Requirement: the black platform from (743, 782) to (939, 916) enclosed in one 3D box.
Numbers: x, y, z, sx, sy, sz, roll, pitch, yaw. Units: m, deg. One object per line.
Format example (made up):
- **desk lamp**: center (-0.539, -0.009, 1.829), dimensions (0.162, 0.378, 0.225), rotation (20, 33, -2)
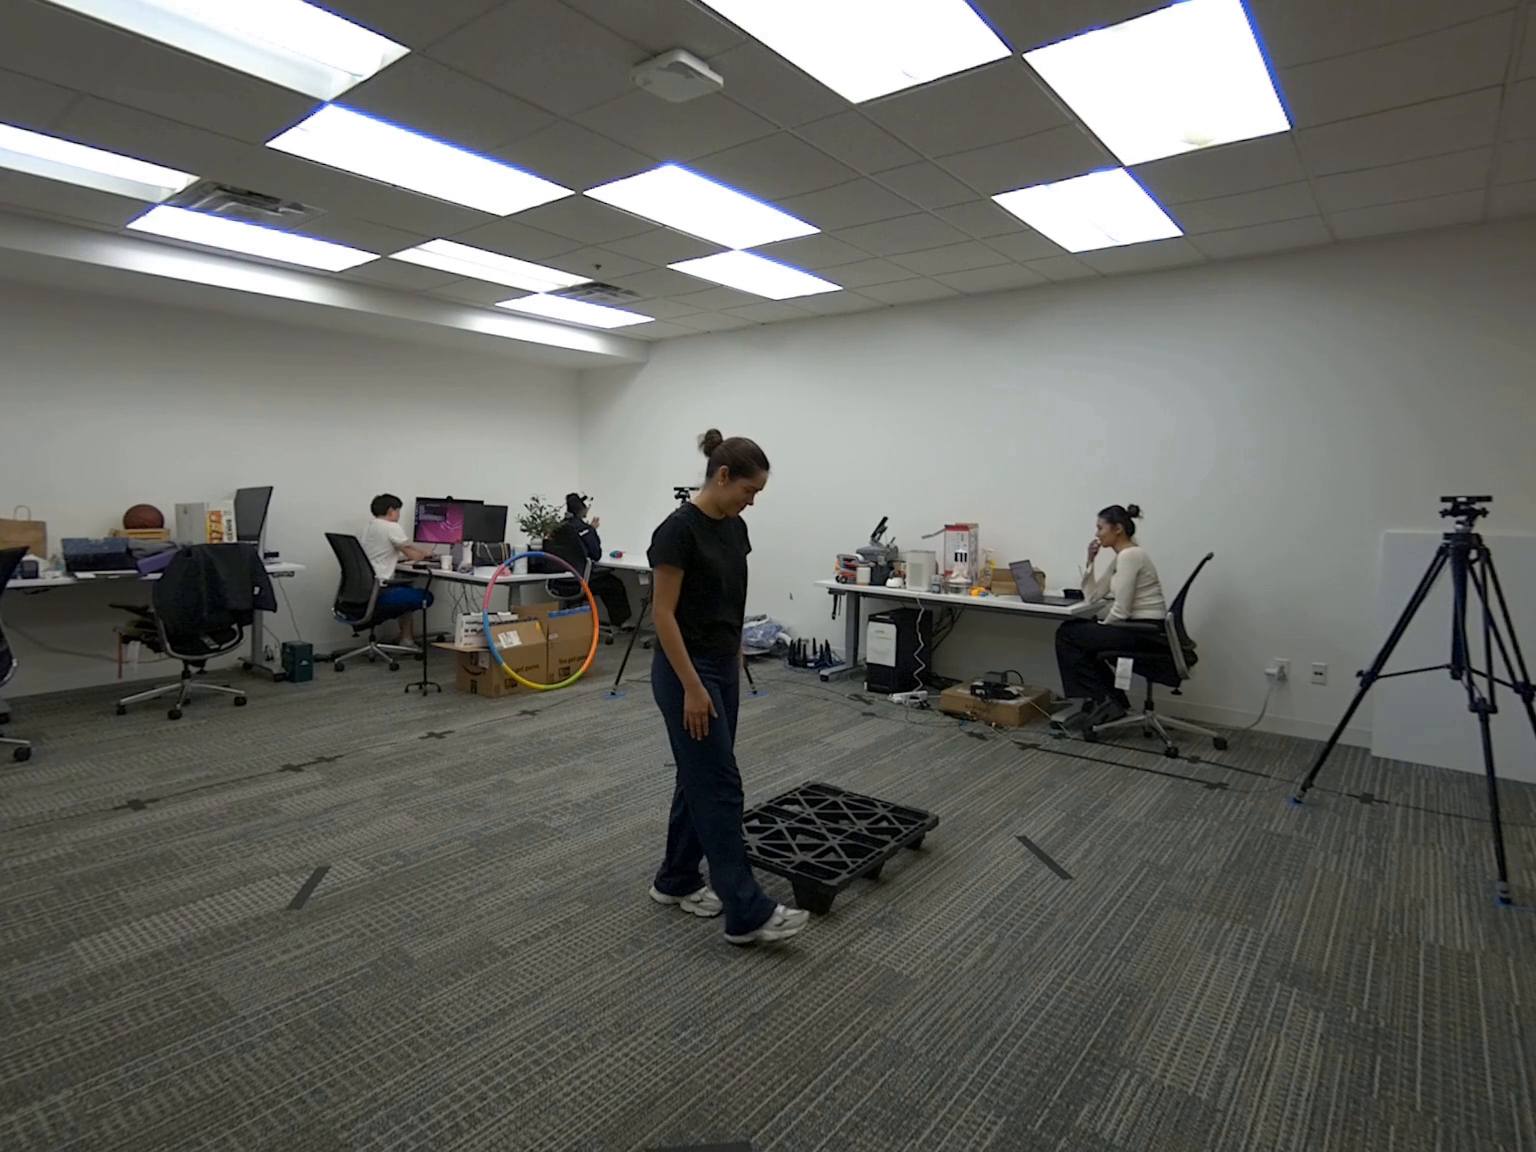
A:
- **black platform**: center (0.211, 0.998, 3.211), dimensions (0.625, 0.143, 0.782), rotation (5, 6, 38)
